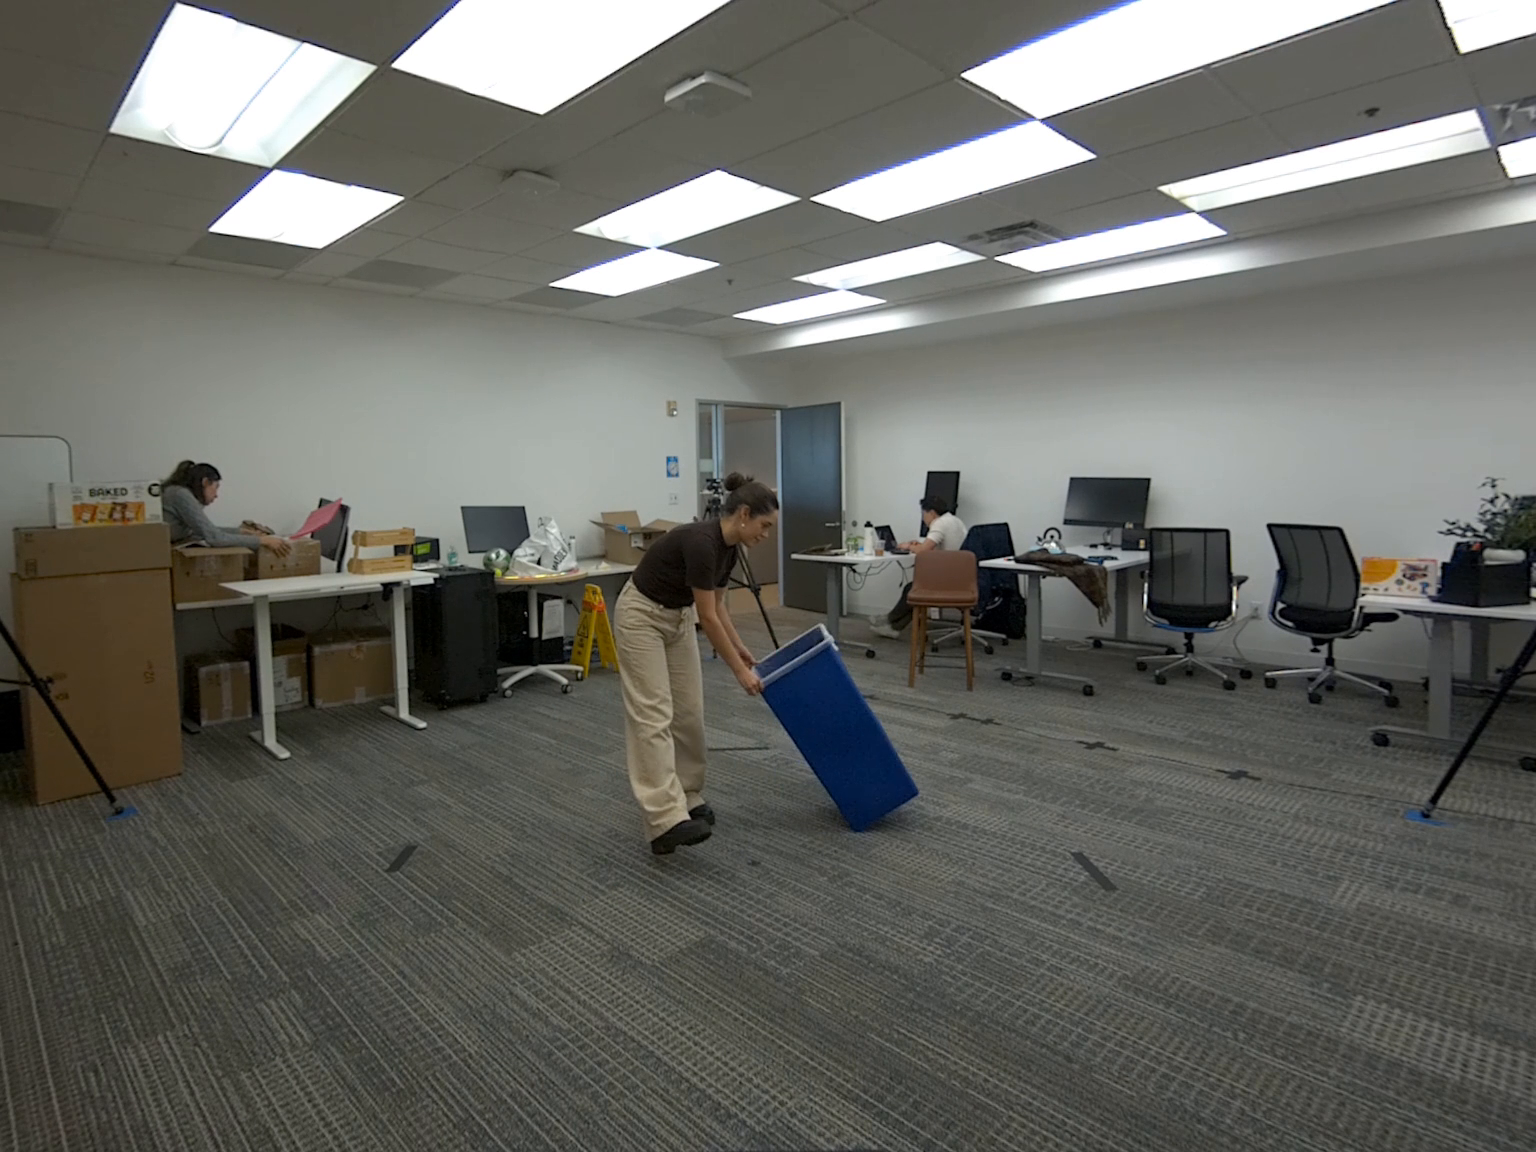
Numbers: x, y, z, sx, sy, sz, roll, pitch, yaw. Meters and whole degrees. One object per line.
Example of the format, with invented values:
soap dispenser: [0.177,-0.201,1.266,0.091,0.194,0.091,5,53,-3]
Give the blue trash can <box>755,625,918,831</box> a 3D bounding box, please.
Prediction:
blue trash can: [0.258,0.616,3.467,0.374,0.711,0.379,-32,3,2]
